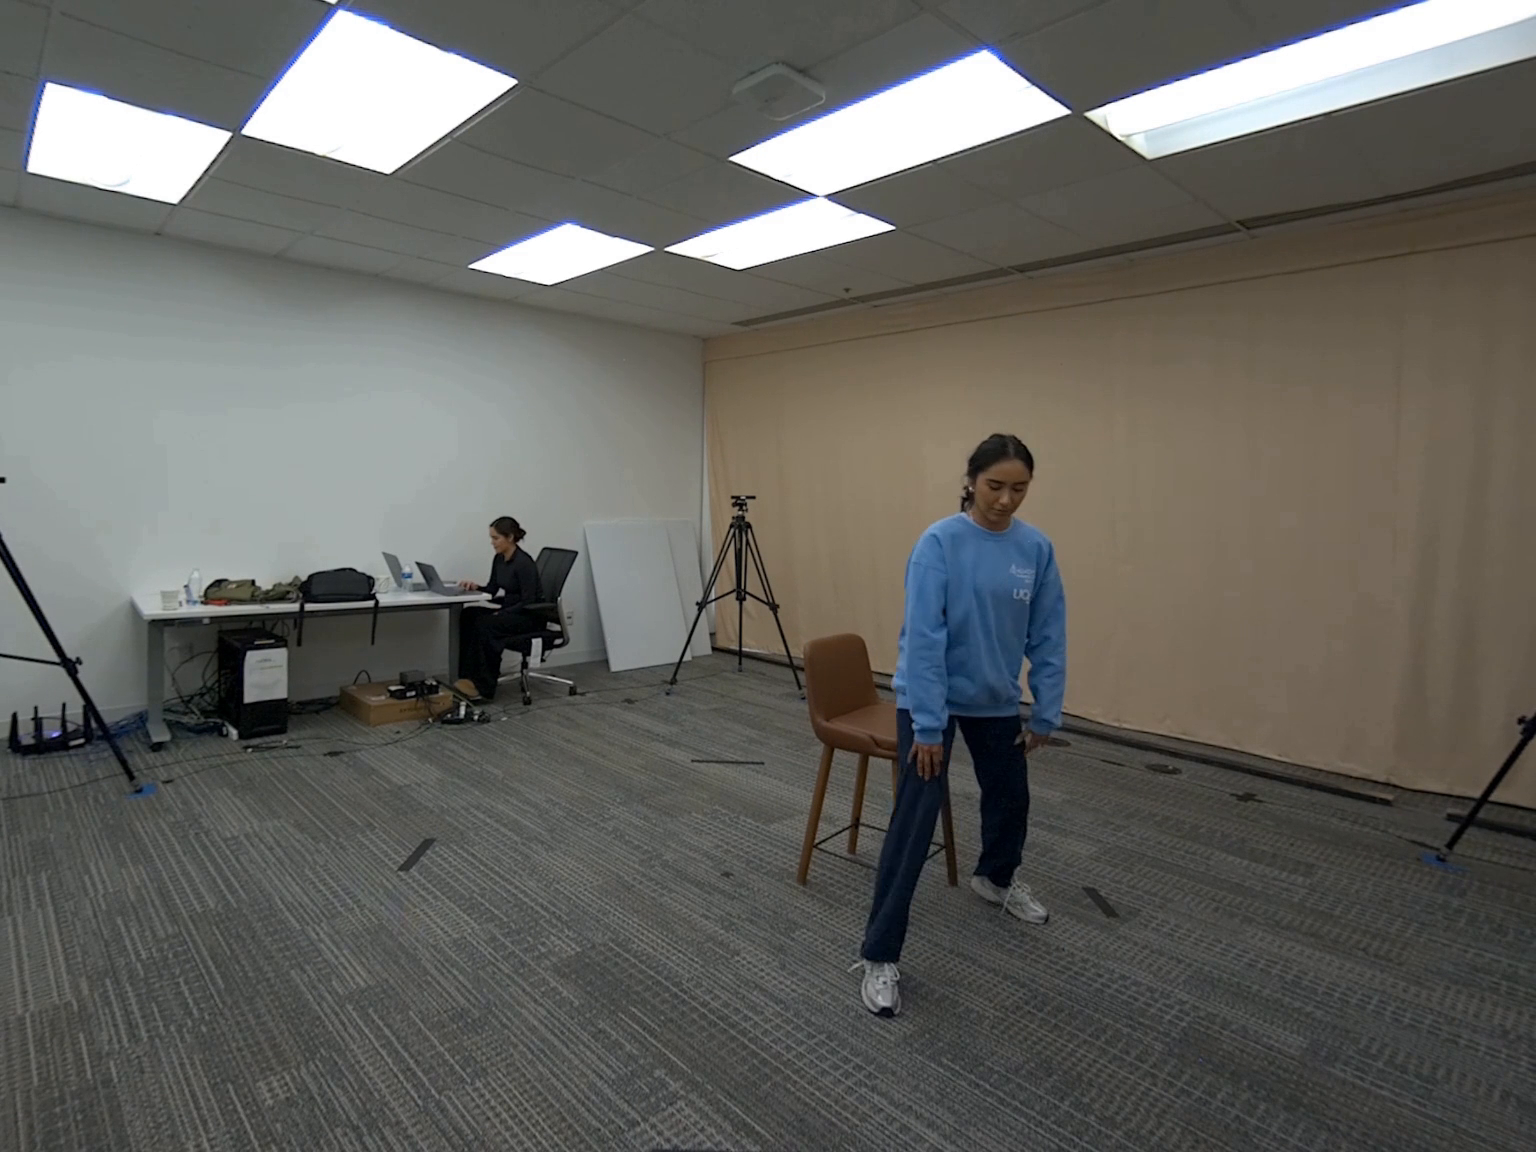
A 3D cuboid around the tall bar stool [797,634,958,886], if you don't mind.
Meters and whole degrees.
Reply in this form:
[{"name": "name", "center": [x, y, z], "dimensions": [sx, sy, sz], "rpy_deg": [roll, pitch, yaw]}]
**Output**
[{"name": "tall bar stool", "center": [0.398, 0.687, 3.031], "dimensions": [0.479, 0.888, 0.446], "rpy_deg": [3, 3, 39]}]
